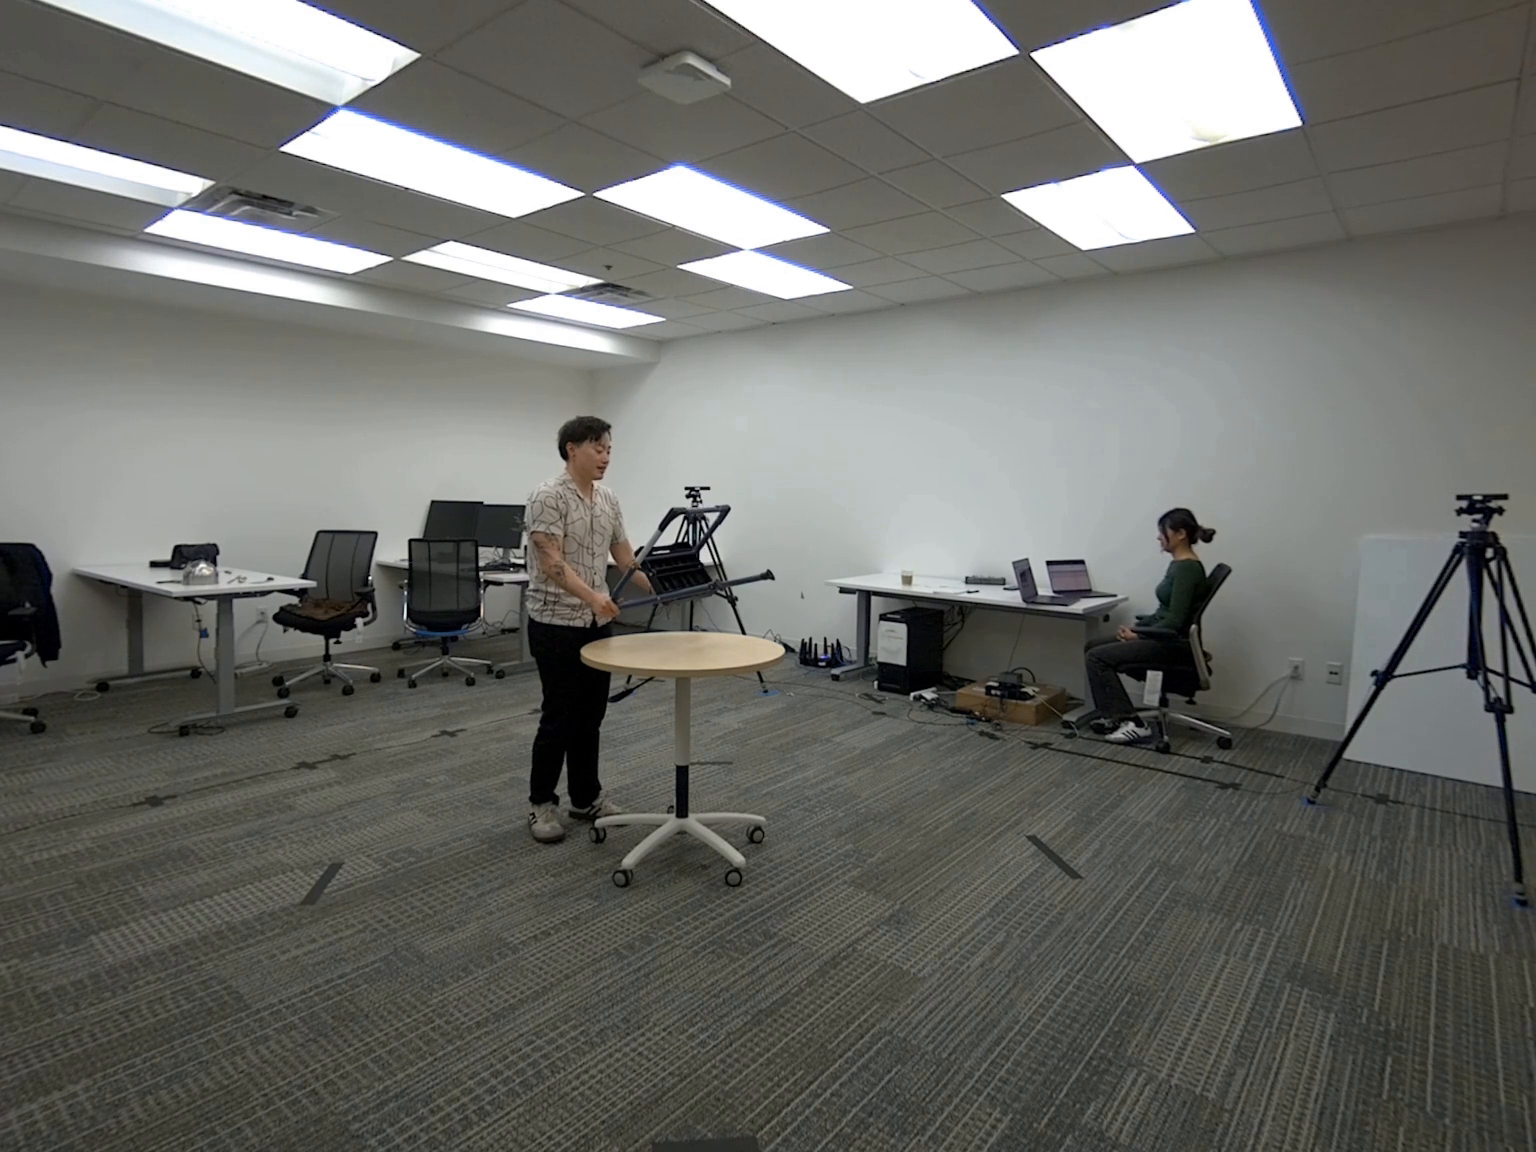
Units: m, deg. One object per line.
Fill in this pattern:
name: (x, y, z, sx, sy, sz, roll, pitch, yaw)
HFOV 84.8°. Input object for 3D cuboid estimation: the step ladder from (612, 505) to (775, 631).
step ladder: (-0.387, 0.034, 3.244, 0.610, 0.356, 0.420, -36, -13, 26)
